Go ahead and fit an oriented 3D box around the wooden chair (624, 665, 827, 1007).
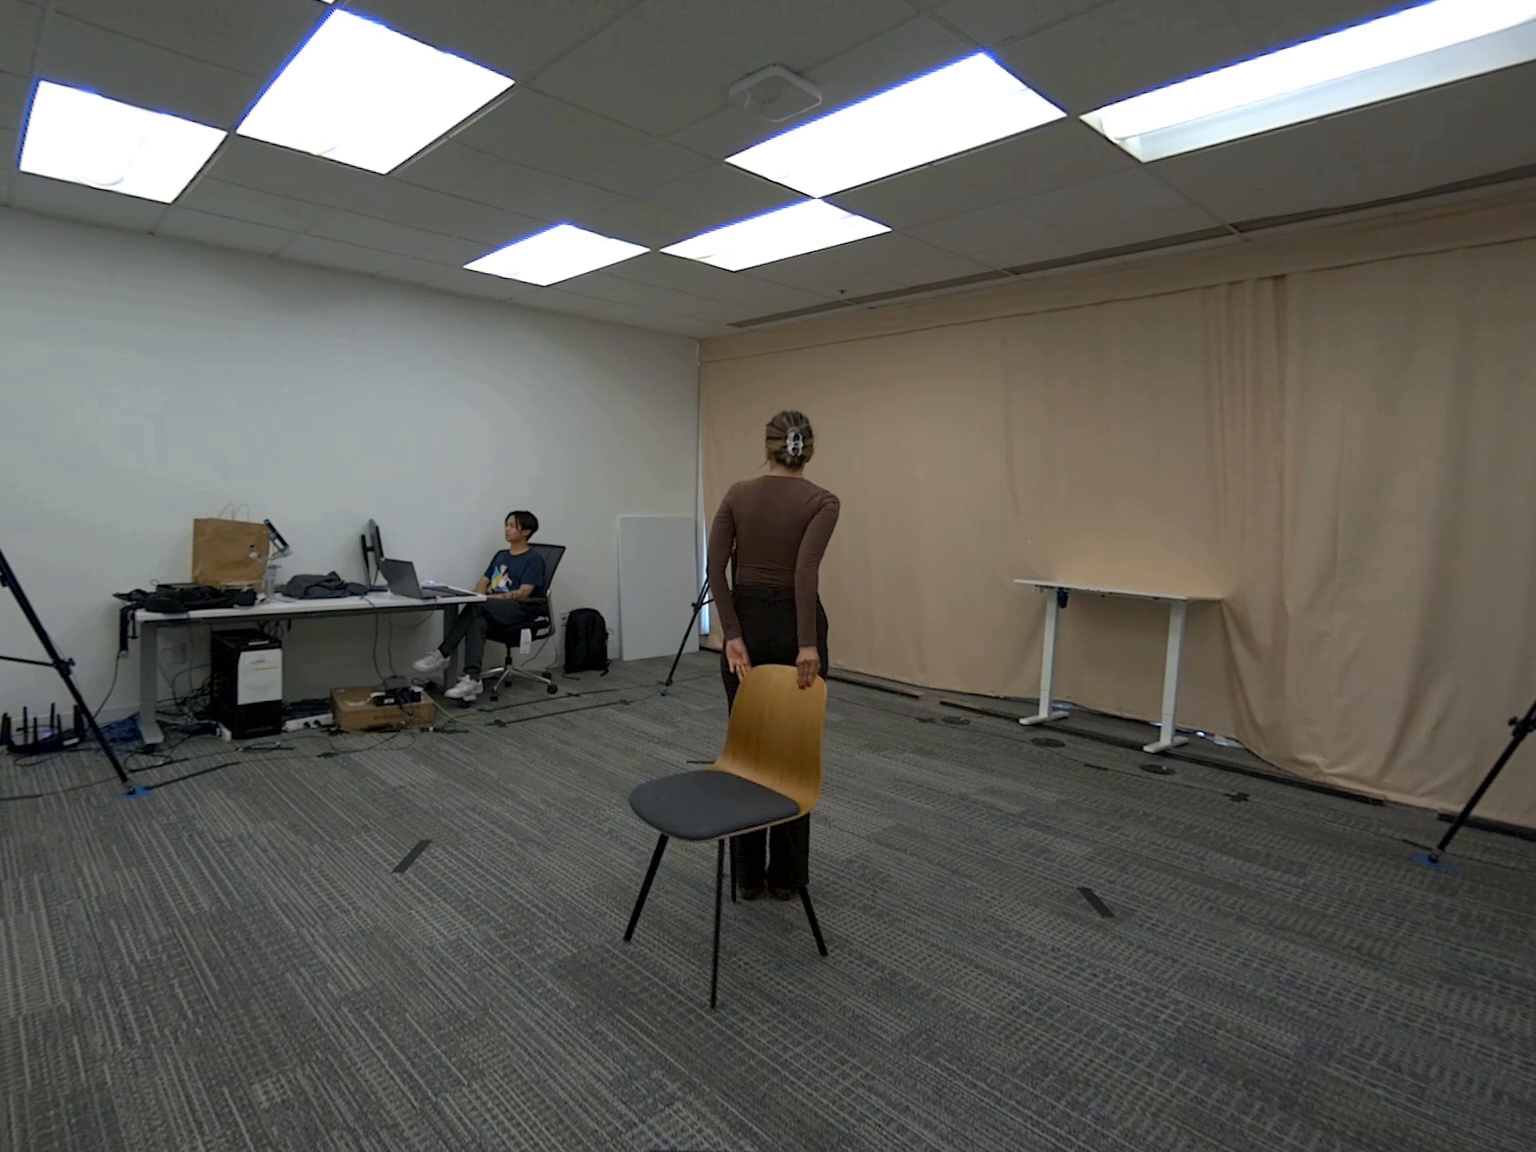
[{"bbox_3d":[-0.123,0.728,2.569,0.510,0.877,0.490,4,1,-41],"label":"wooden chair"}]
